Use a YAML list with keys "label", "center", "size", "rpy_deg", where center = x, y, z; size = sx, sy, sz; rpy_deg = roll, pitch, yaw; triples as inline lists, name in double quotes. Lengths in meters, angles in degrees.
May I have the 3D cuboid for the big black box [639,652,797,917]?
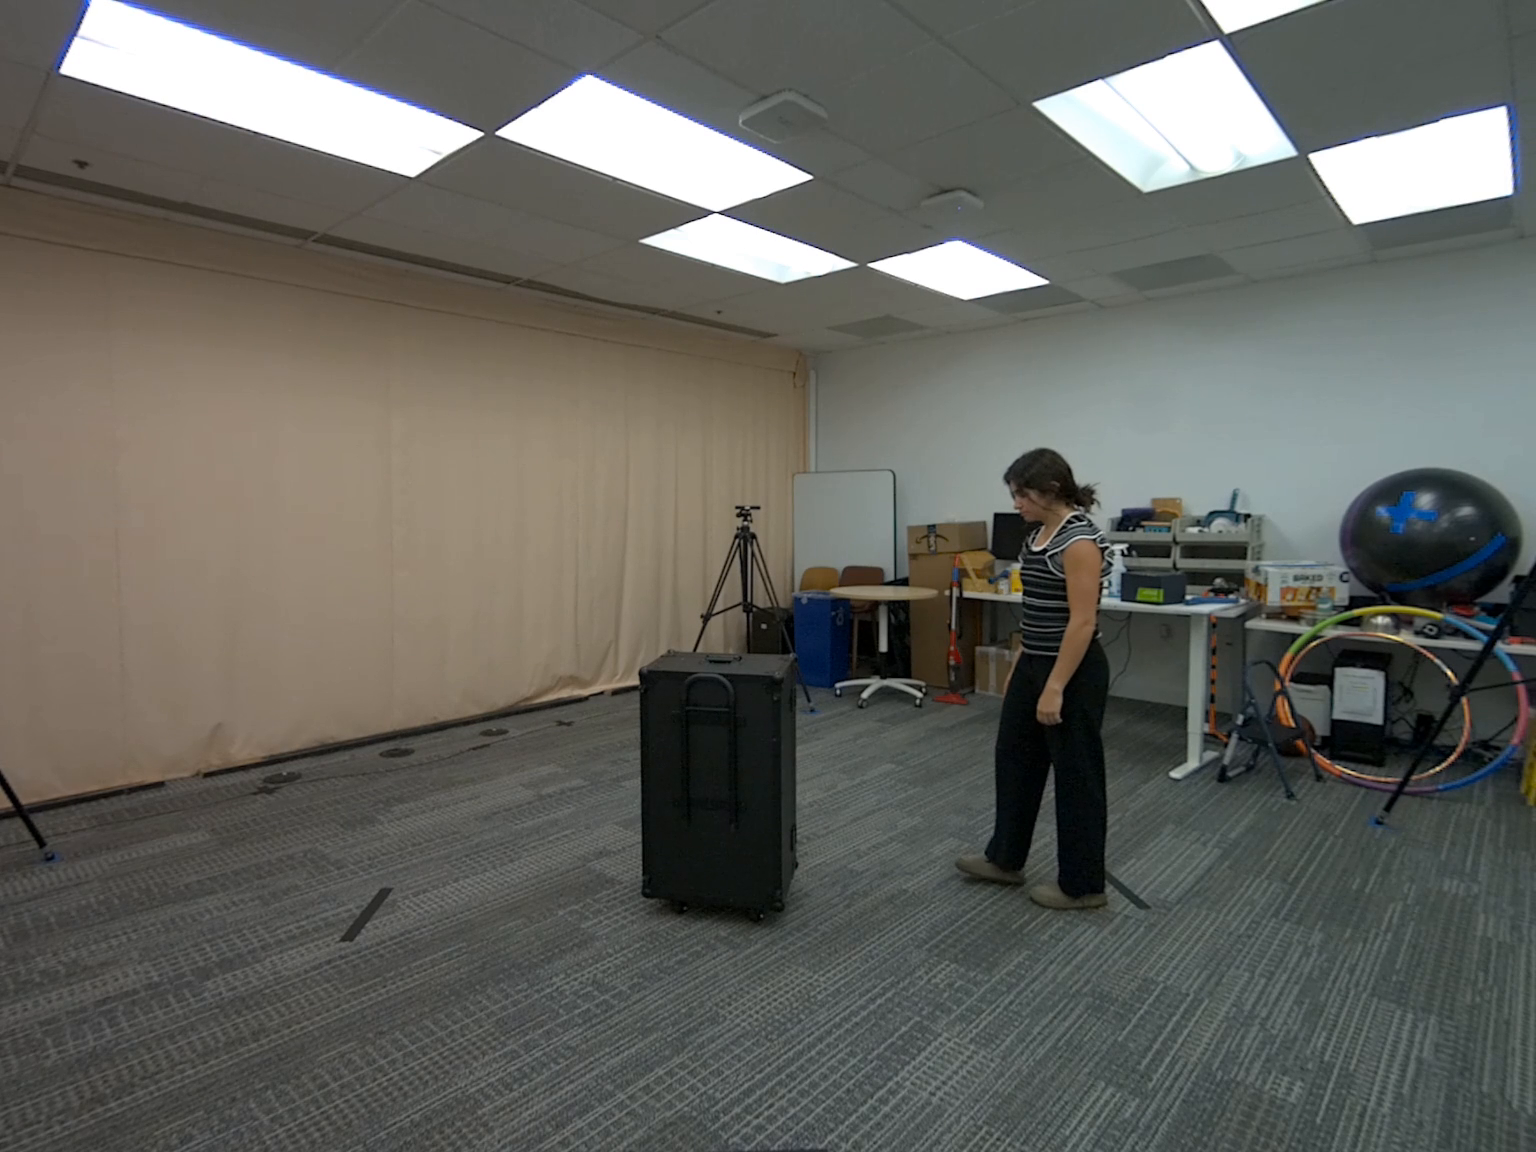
- label: "big black box"
  center: [-0.156, 0.727, 2.940]
  size: [0.529, 0.859, 0.391]
  rpy_deg: [1, 5, 13]
